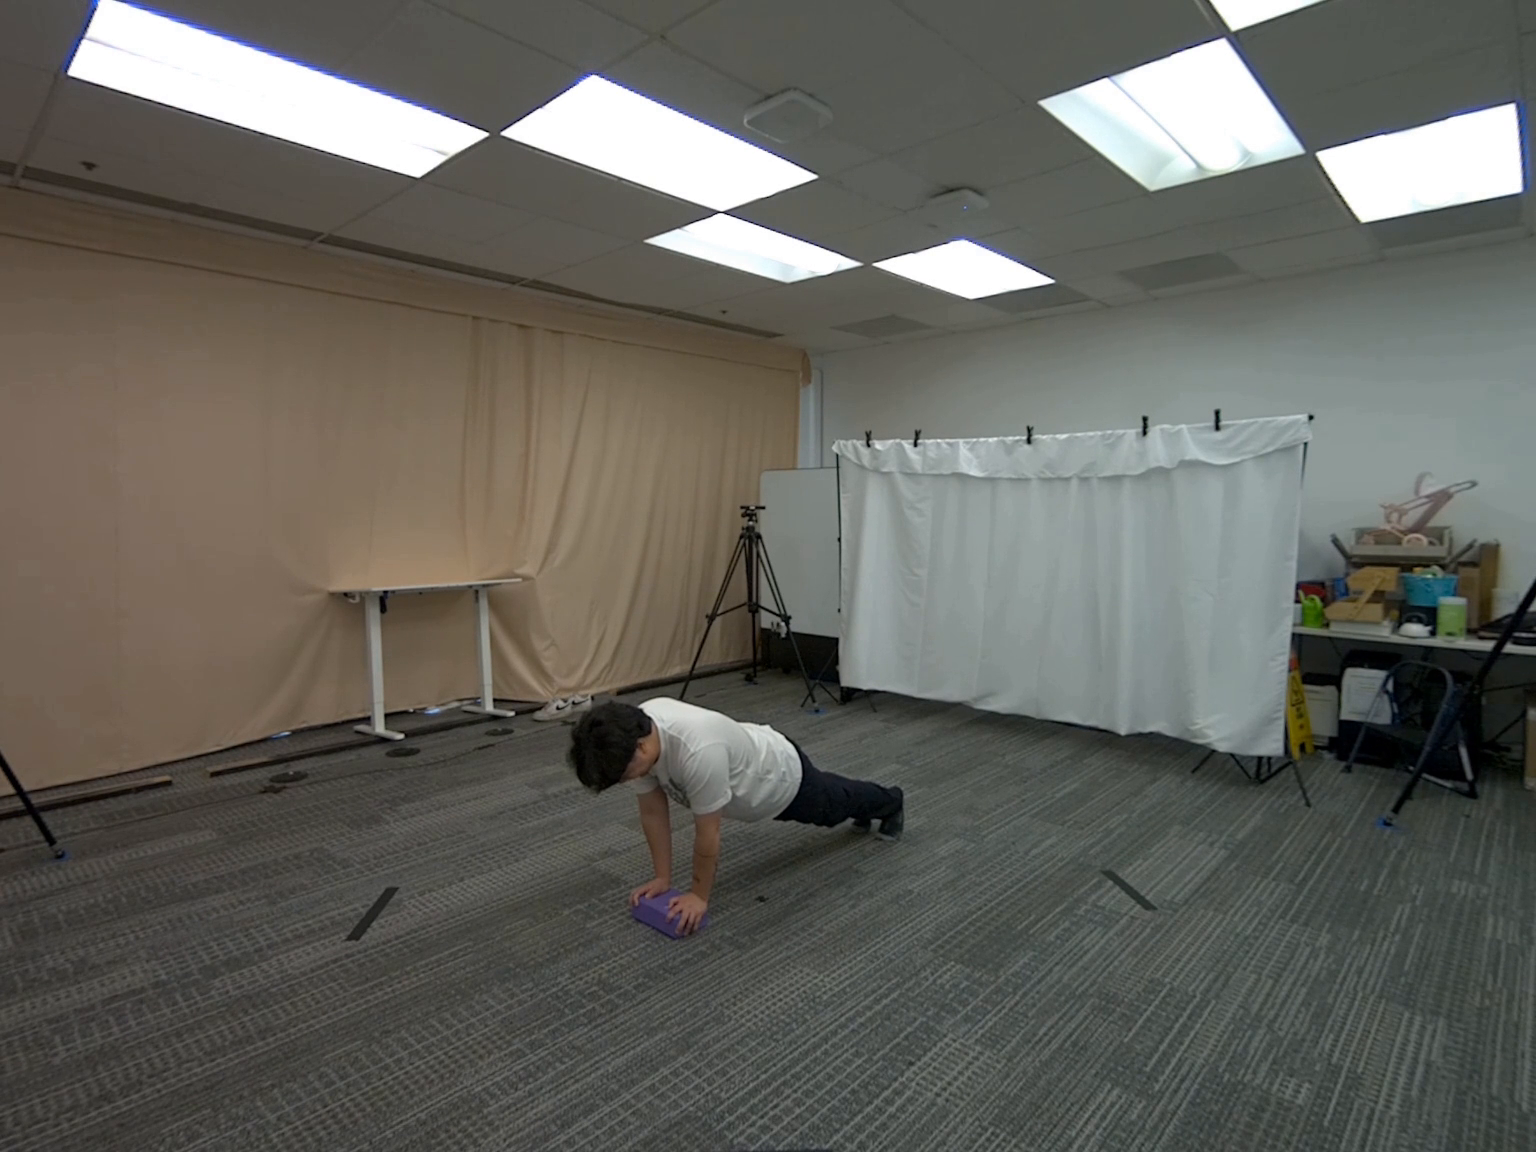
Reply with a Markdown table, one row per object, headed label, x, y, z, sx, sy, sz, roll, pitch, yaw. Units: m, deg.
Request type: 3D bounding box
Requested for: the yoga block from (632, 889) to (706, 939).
| label | x | y | z | sx | sy | sz | roll | pitch | yaw |
| --- | --- | --- | --- | --- | --- | --- | --- | --- | --- |
| yoga block | -0.329 | 1.127 | 2.823 | 0.237 | 0.076 | 0.144 | 4 | 7 | 42 |
